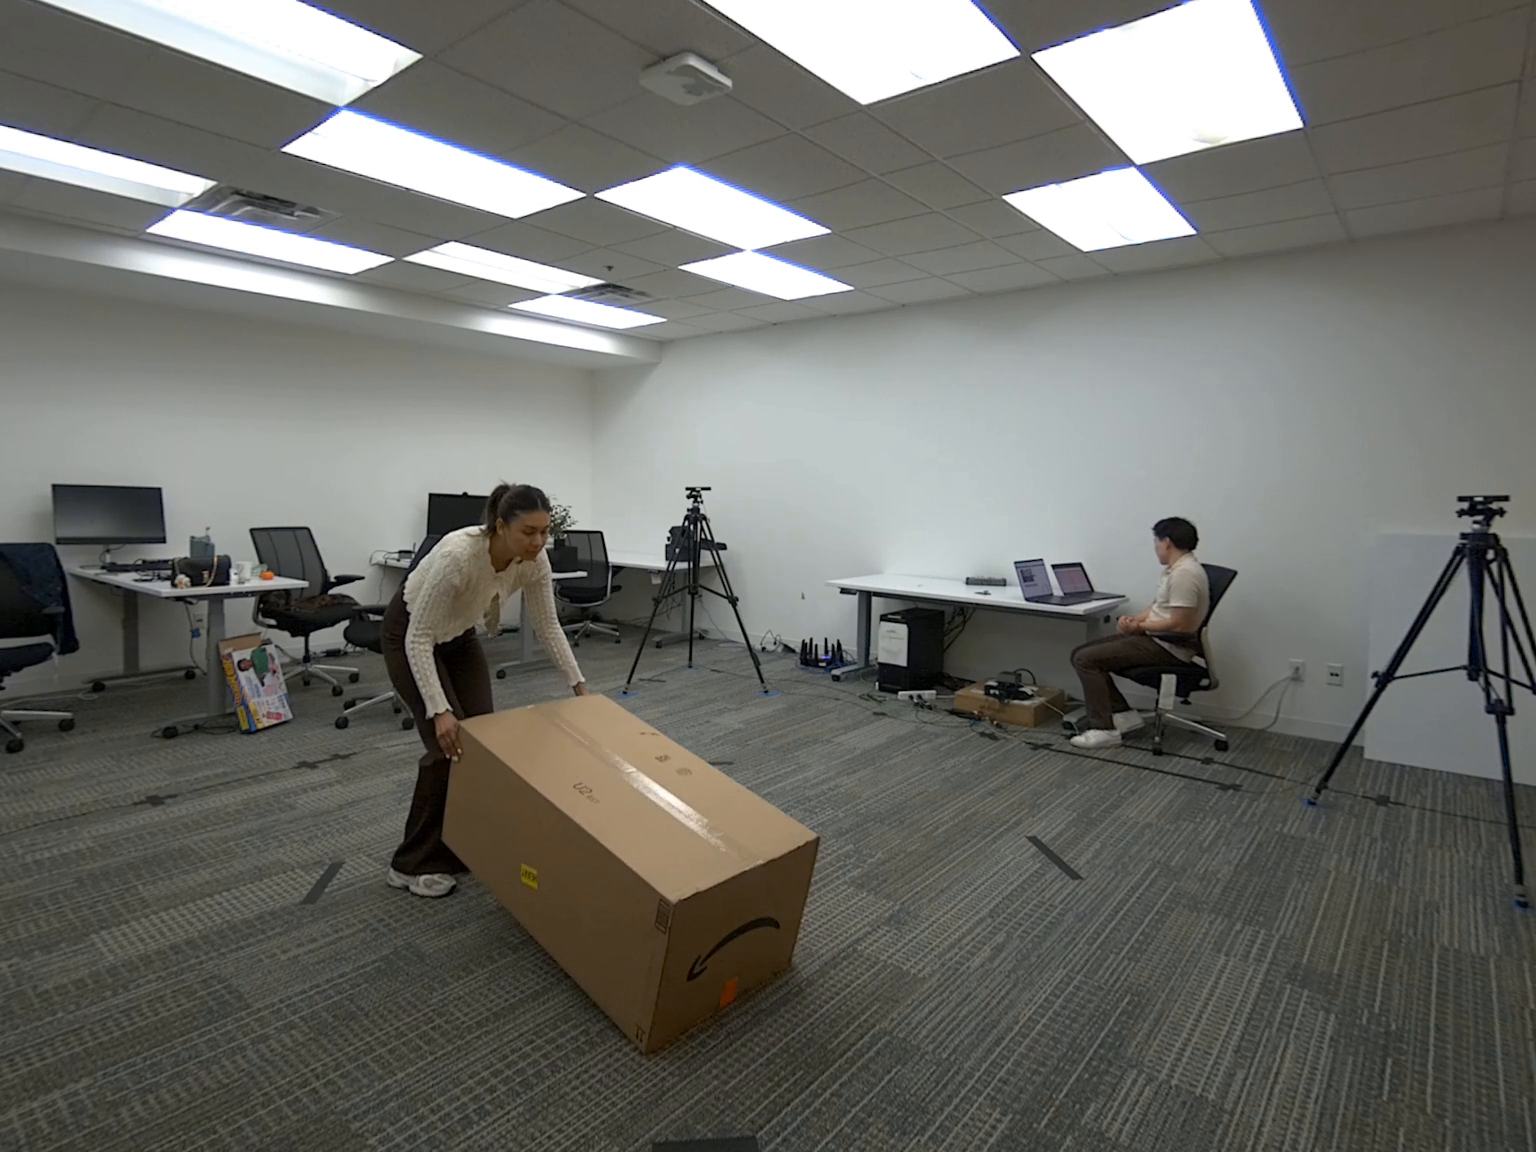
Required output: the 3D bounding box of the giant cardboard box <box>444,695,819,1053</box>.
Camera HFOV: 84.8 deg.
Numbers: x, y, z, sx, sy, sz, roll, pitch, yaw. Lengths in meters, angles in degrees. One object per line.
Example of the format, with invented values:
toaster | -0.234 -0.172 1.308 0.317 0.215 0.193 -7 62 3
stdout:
giant cardboard box | -0.453 0.789 2.567 1.067 0.422 0.560 22 18 39
